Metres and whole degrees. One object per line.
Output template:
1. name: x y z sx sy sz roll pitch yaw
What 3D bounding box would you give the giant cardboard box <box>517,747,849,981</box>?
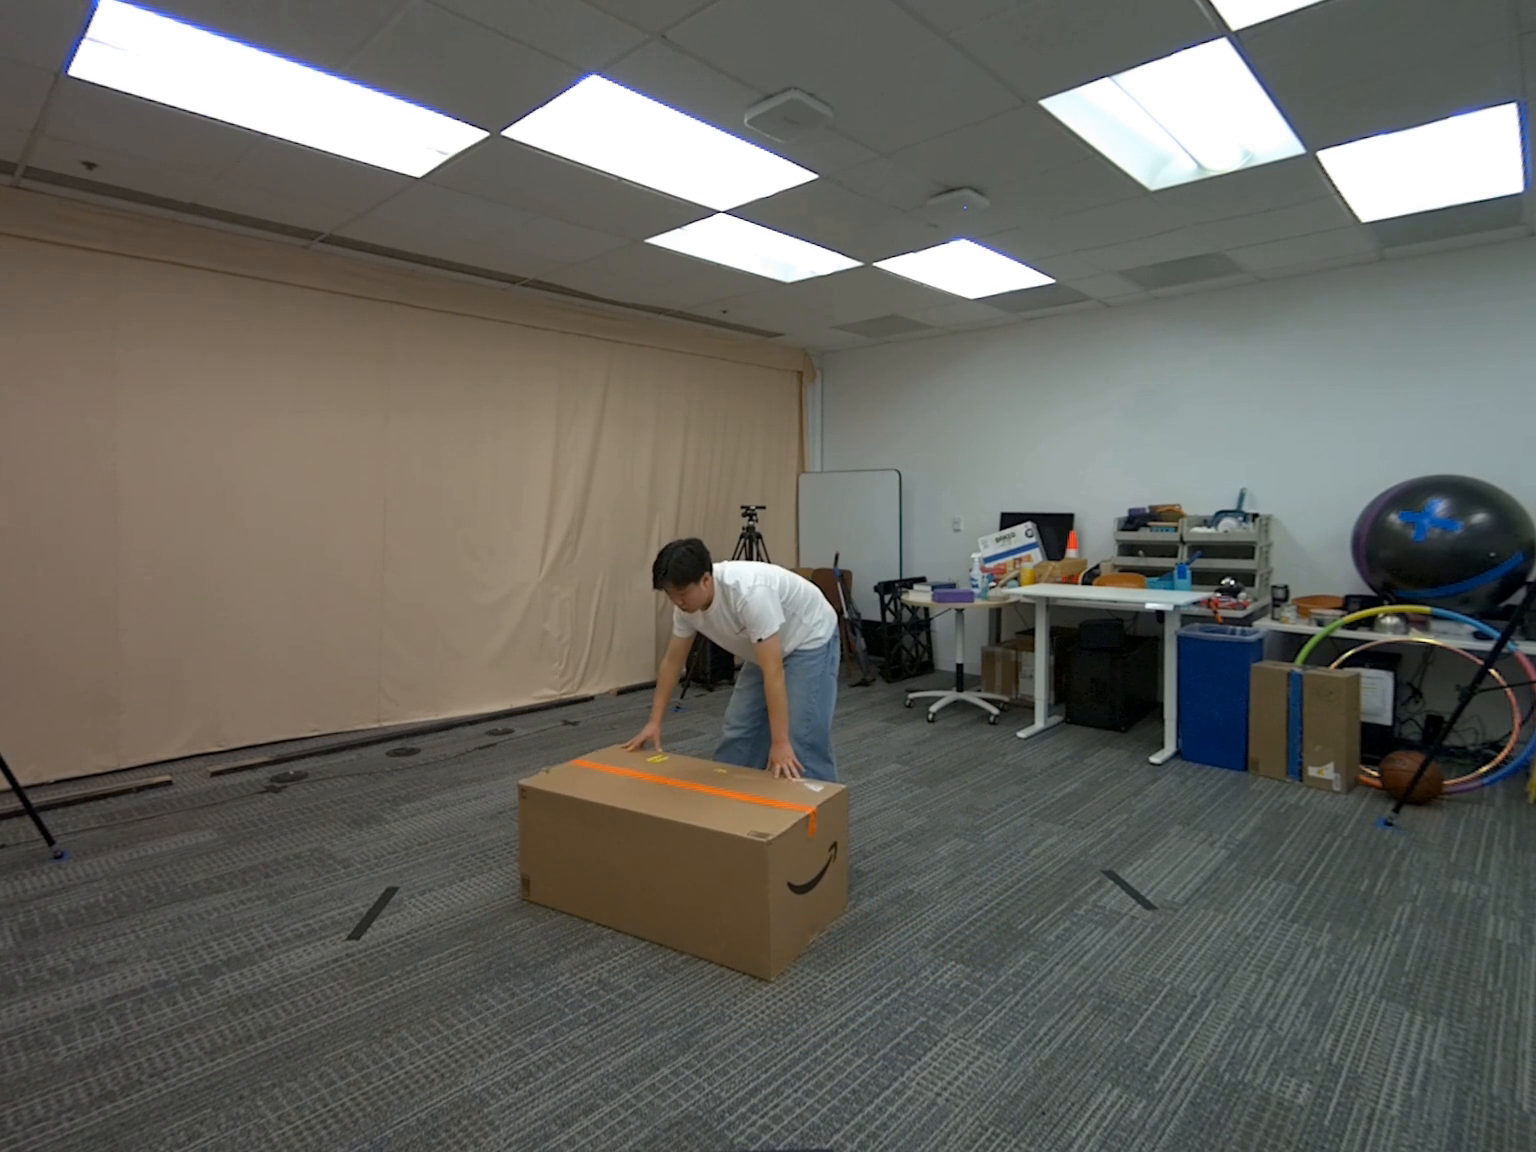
1. giant cardboard box: -0.302 0.933 2.953 1.056 0.425 0.561 2 4 31
